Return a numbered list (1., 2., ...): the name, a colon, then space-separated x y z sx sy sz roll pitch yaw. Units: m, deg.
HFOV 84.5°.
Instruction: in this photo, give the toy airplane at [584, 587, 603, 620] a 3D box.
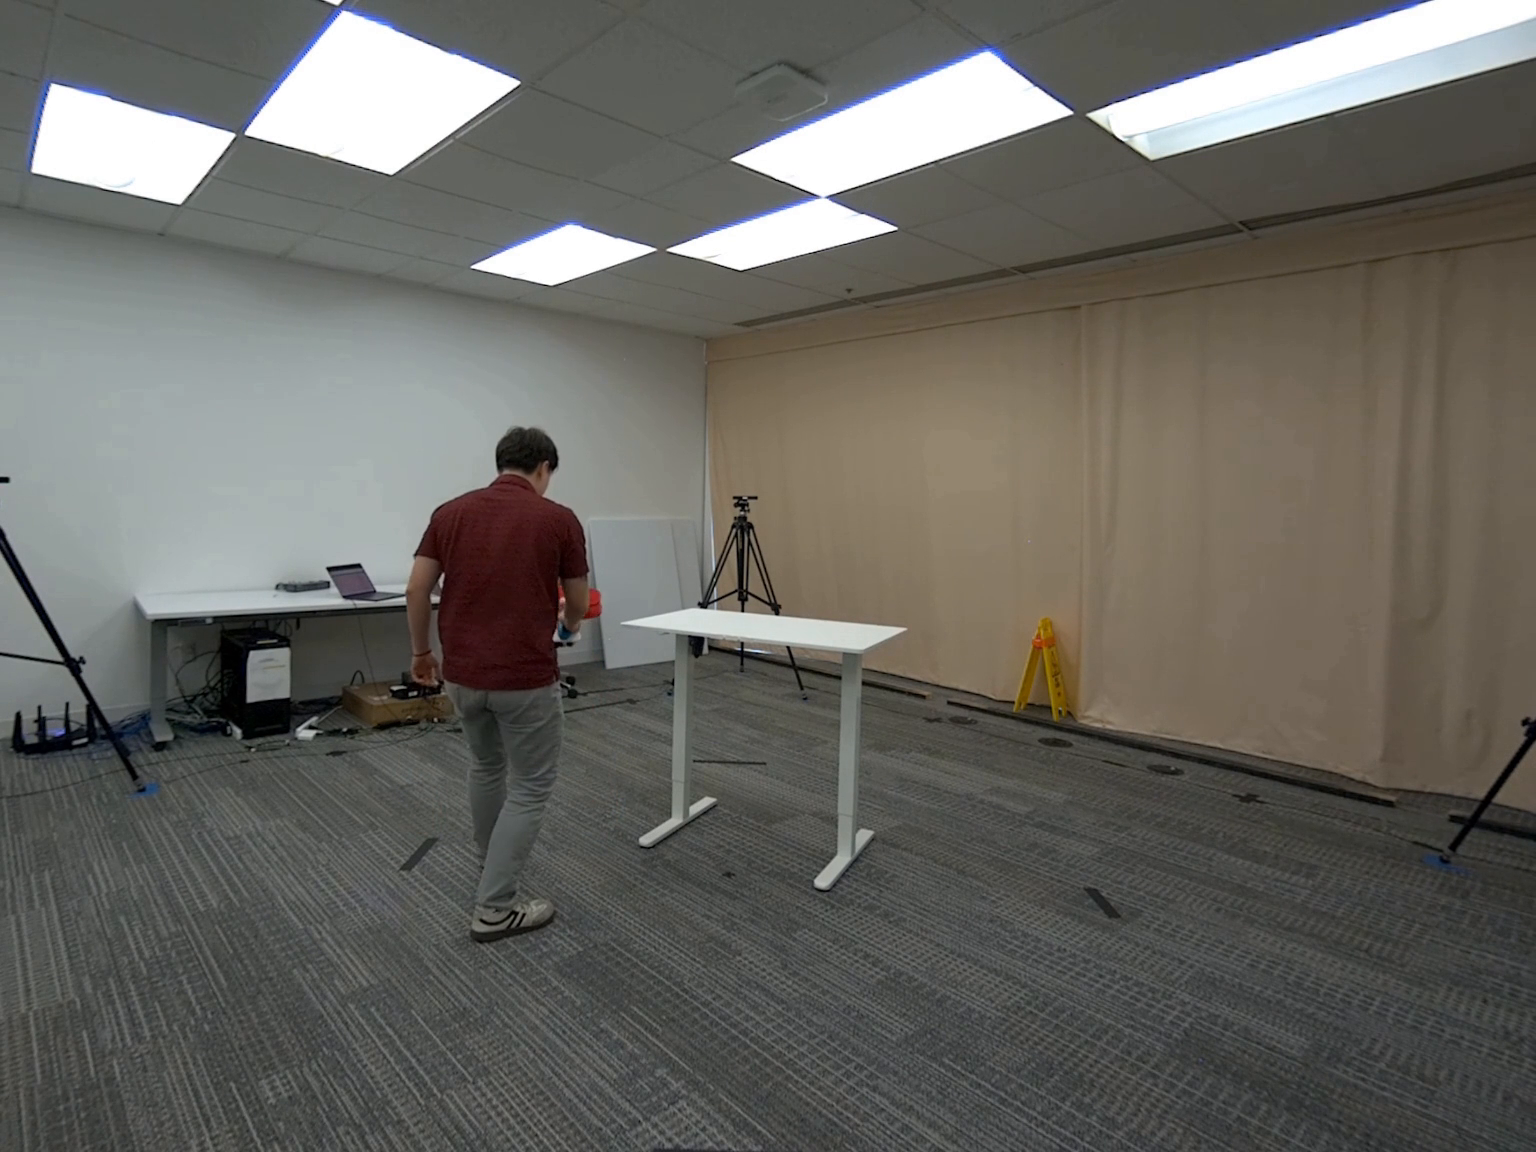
1. toy airplane: -0.745 0.142 3.181 0.248 0.153 0.268 -18 40 -27
